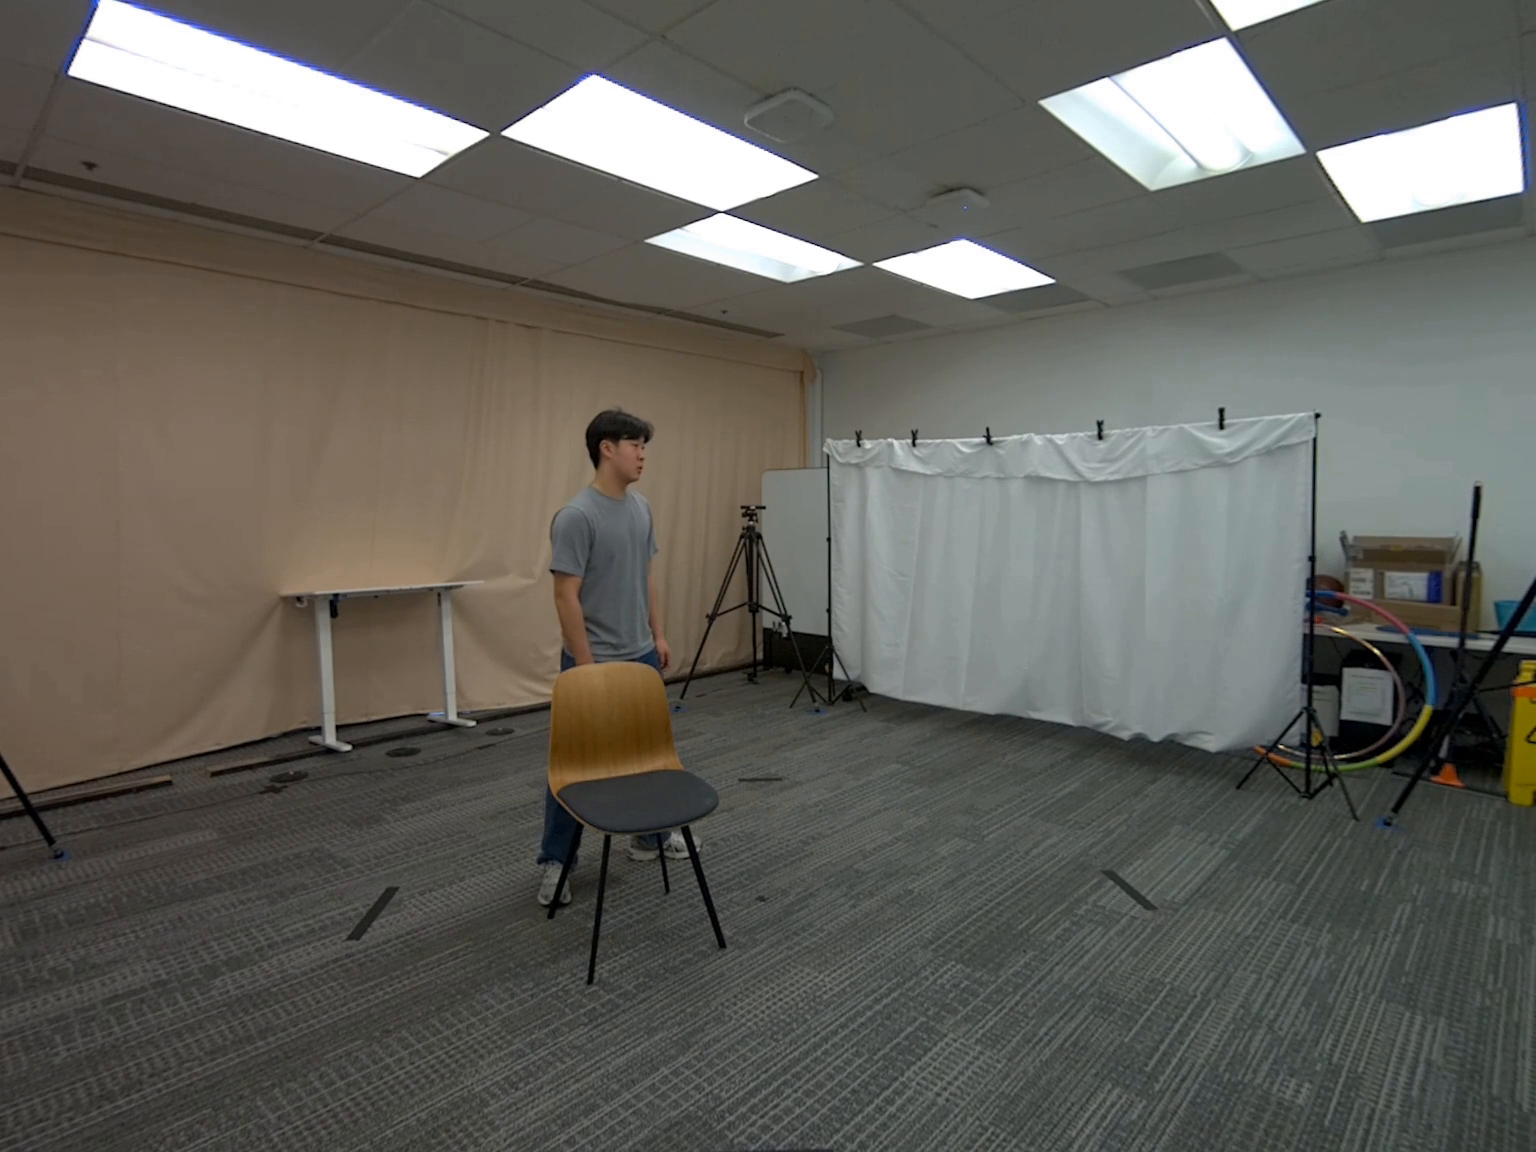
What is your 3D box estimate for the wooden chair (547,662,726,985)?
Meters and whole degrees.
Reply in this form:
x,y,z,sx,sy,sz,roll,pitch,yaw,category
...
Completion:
x,y,z,sx,sy,sz,roll,pitch,yaw,category
-0.432,0.740,2.716,0.466,0.878,0.536,-2,-1,-28,wooden chair
